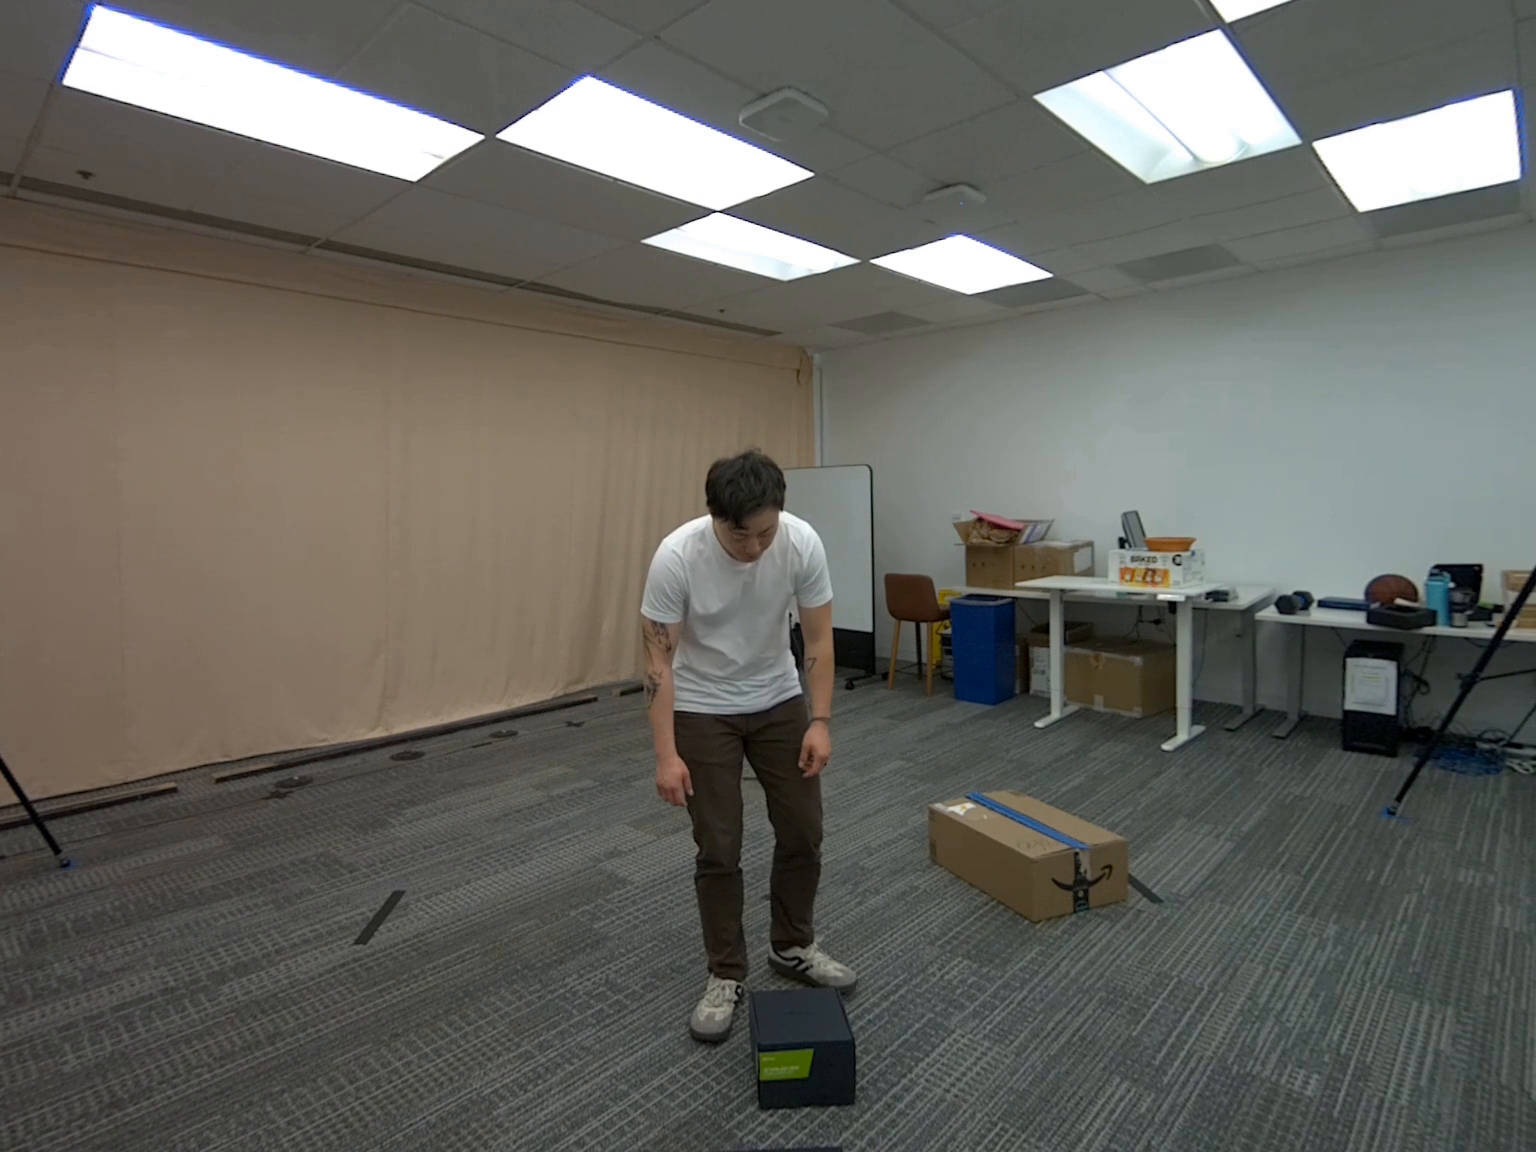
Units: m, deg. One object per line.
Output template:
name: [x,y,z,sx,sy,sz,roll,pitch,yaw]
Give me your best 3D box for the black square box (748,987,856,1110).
black square box: [0.080,1.131,2.046,0.227,0.155,0.218,-1,4,-5]
